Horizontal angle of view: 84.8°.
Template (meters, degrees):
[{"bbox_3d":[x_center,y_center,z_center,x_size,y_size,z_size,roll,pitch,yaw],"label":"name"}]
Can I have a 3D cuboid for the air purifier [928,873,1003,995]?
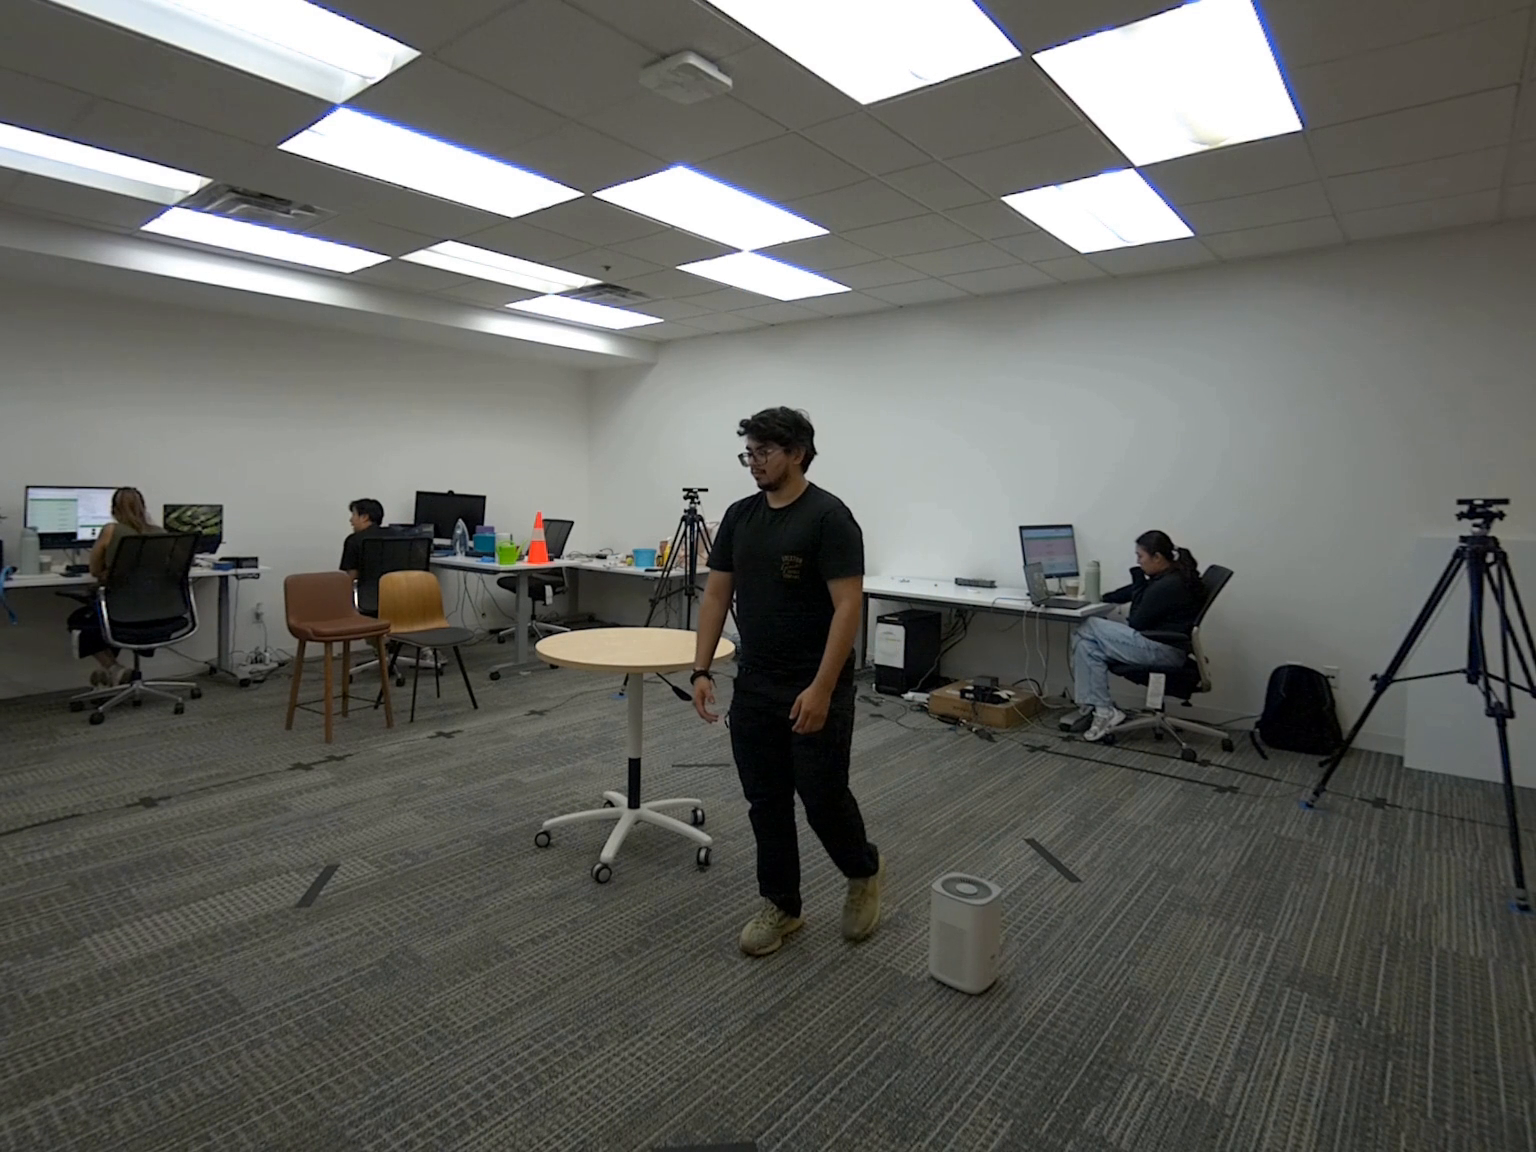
[{"bbox_3d":[0.568,1.018,2.444,0.177,0.264,0.166,5,5,38],"label":"air purifier"}]
